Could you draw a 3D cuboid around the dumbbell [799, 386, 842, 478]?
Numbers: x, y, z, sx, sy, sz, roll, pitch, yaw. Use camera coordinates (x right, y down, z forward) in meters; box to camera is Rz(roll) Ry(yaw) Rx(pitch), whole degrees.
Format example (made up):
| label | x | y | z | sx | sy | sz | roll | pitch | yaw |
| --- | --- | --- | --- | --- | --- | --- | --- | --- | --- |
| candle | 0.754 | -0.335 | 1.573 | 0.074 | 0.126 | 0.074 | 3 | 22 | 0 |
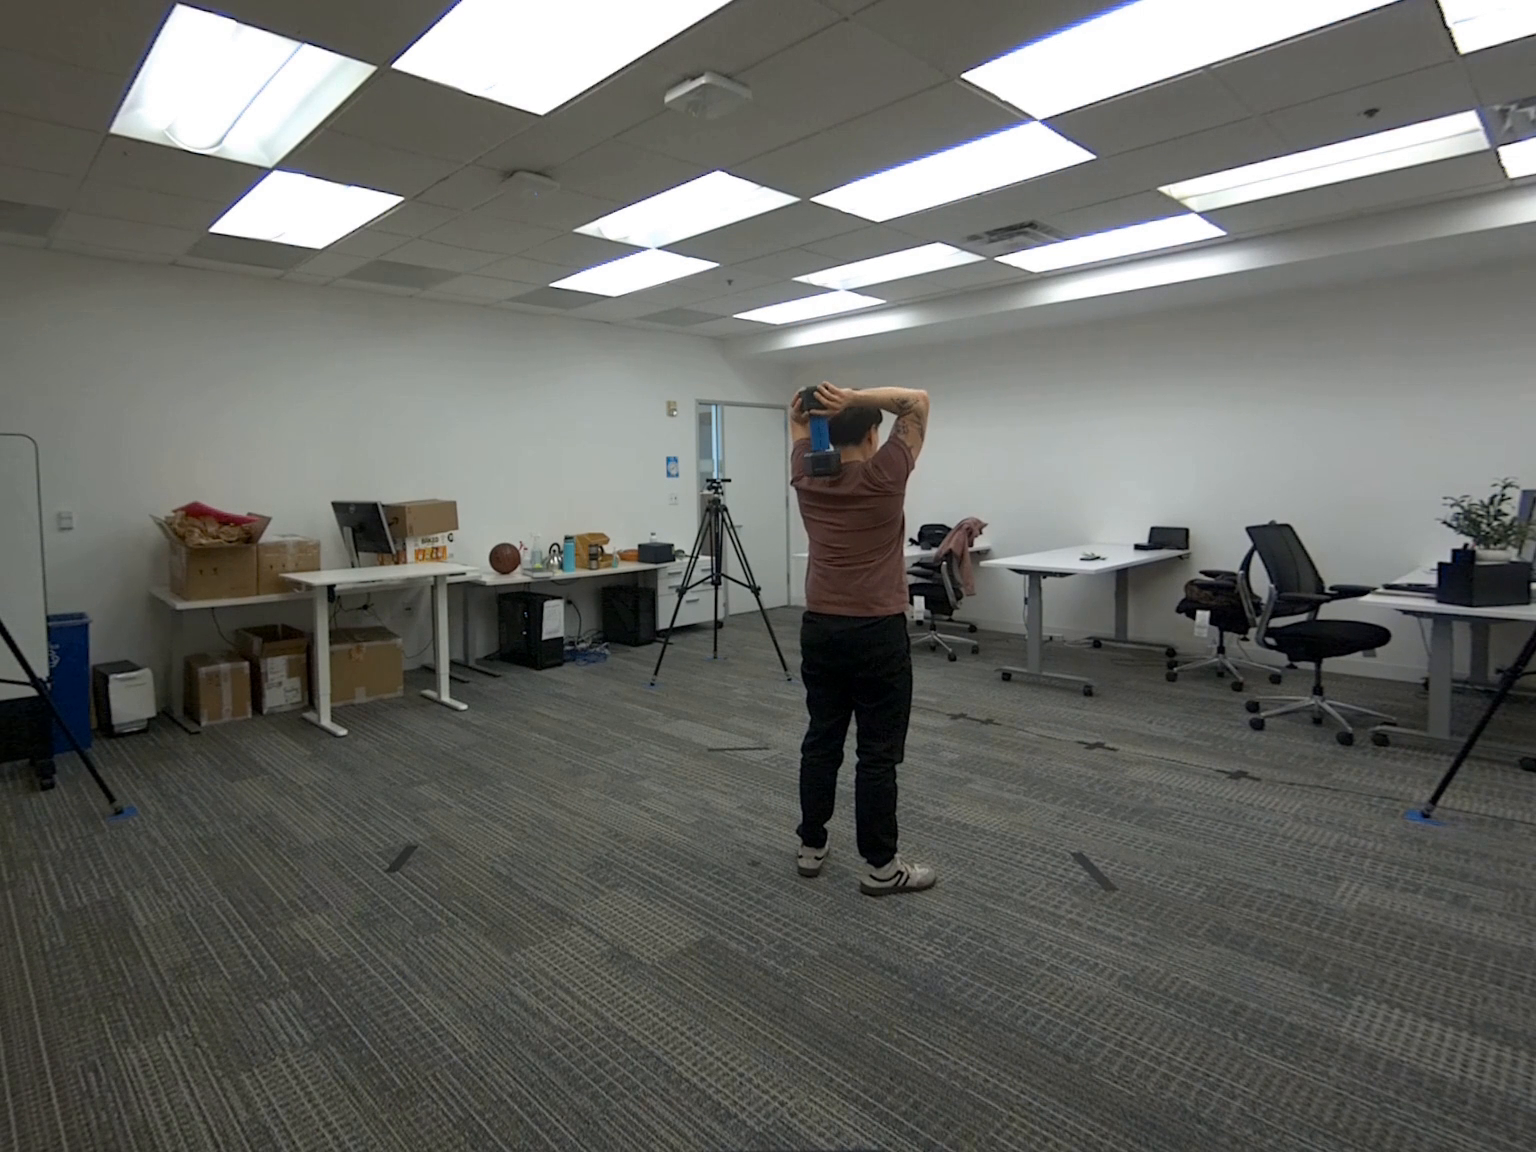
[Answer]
| label | x | y | z | sx | sy | sz | roll | pitch | yaw |
| --- | --- | --- | --- | --- | --- | --- | --- | --- | --- |
| dumbbell | 0.180 | -0.473 | 2.801 | 0.112 | 0.293 | 0.119 | 1 | 1 | 41 |
